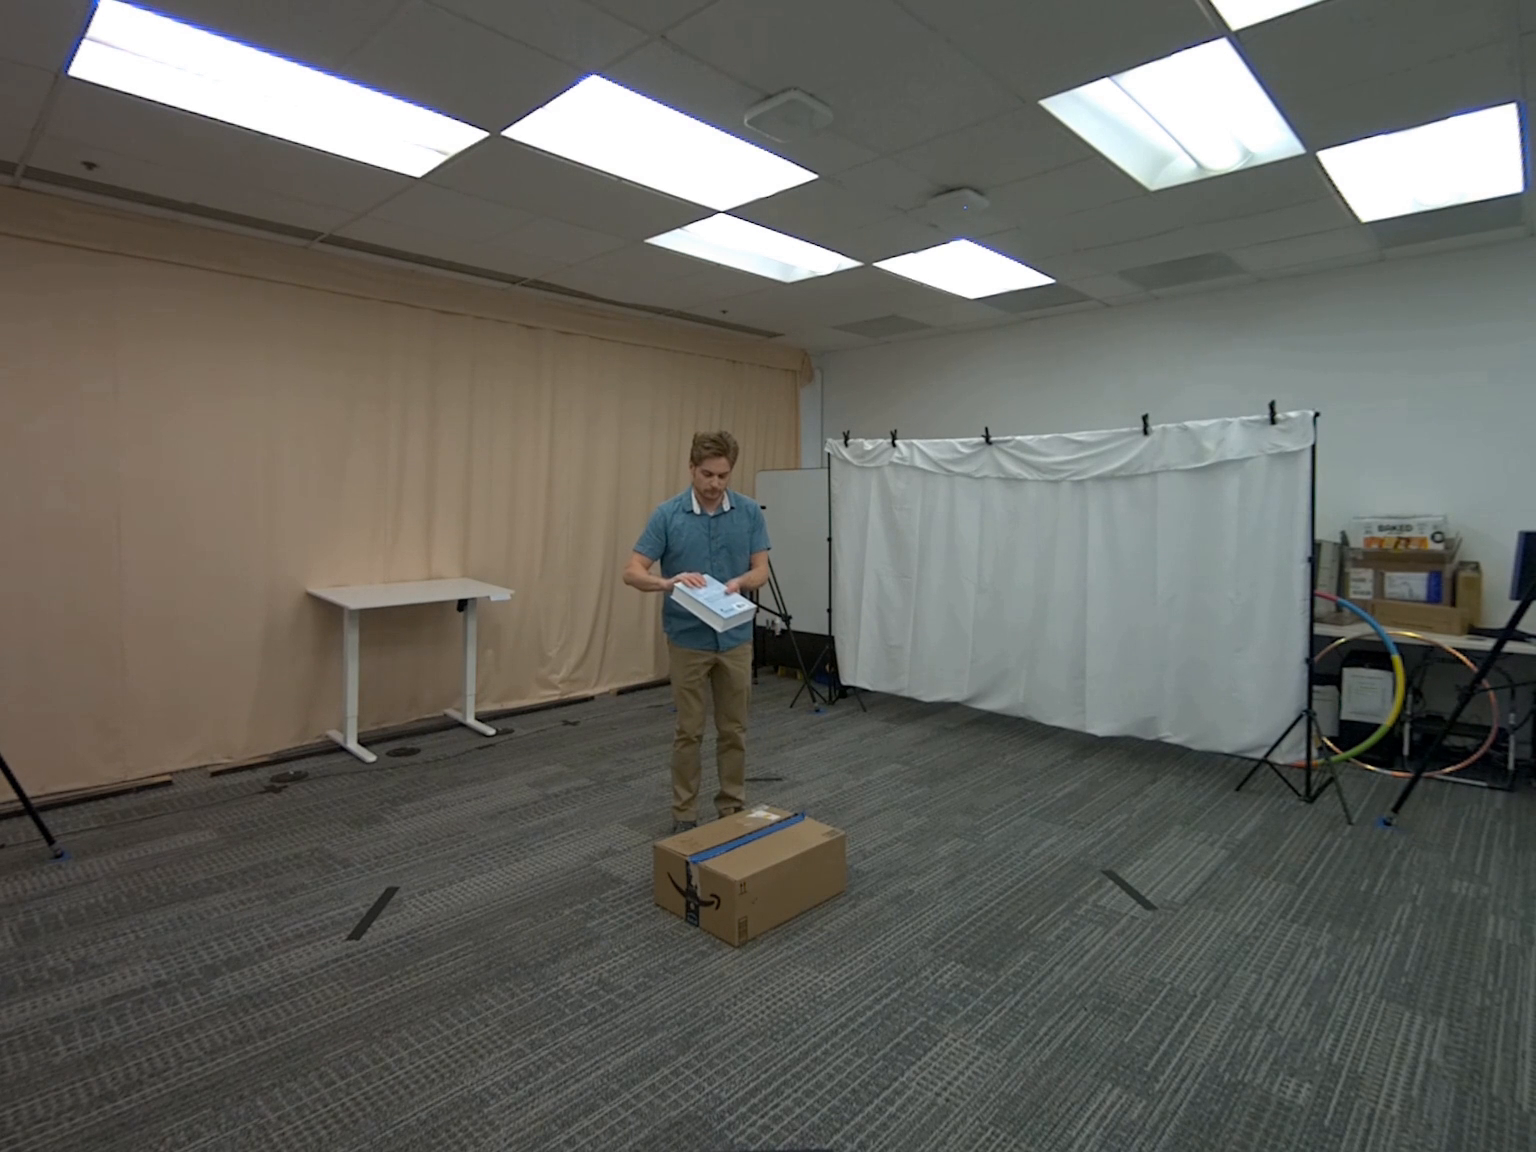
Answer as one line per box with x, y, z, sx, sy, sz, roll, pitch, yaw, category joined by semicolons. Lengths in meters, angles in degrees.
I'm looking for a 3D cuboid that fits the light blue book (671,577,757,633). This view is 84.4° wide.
-0.197;0.097;3.132;0.270;0.058;0.186;33;33;34;light blue book
